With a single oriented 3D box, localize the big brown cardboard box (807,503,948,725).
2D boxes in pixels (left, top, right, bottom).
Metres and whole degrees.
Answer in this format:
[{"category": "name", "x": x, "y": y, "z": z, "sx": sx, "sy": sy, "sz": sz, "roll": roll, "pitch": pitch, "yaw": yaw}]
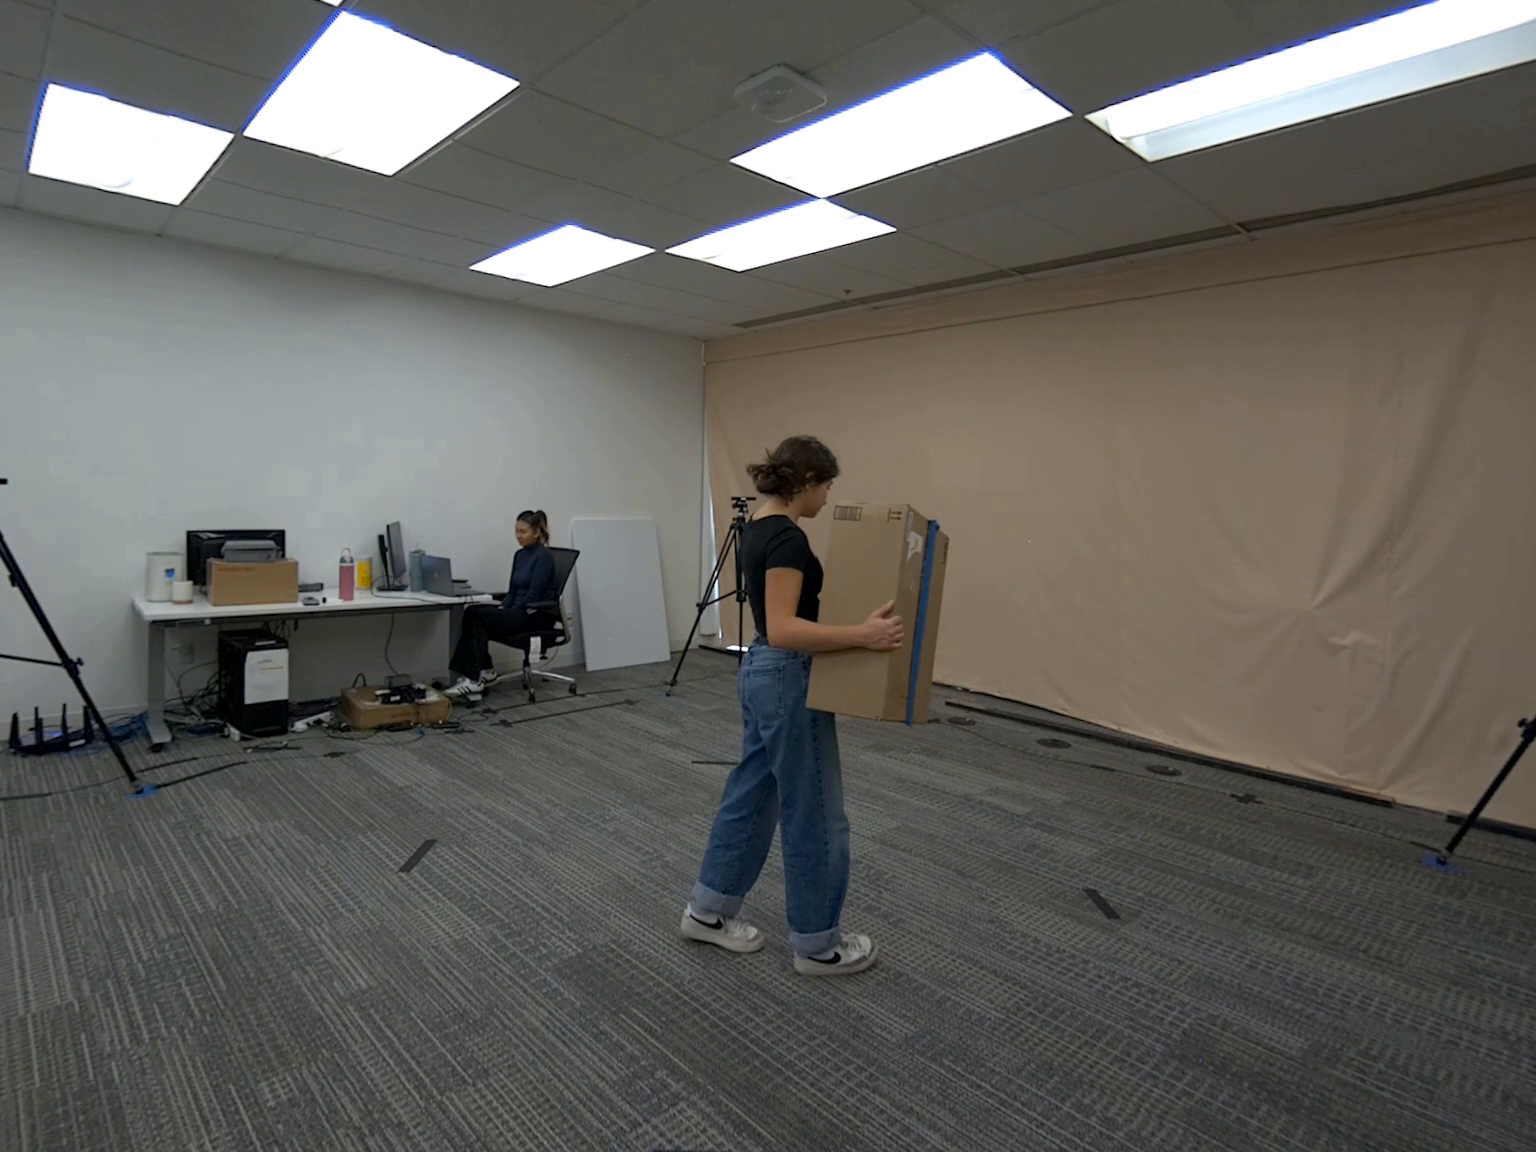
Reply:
[{"category": "big brown cardboard box", "x": 0.318, "y": 0.113, "z": 2.384, "sx": 0.238, "sy": 0.591, "sz": 0.407, "roll": 5, "pitch": -8, "yaw": 28}]
